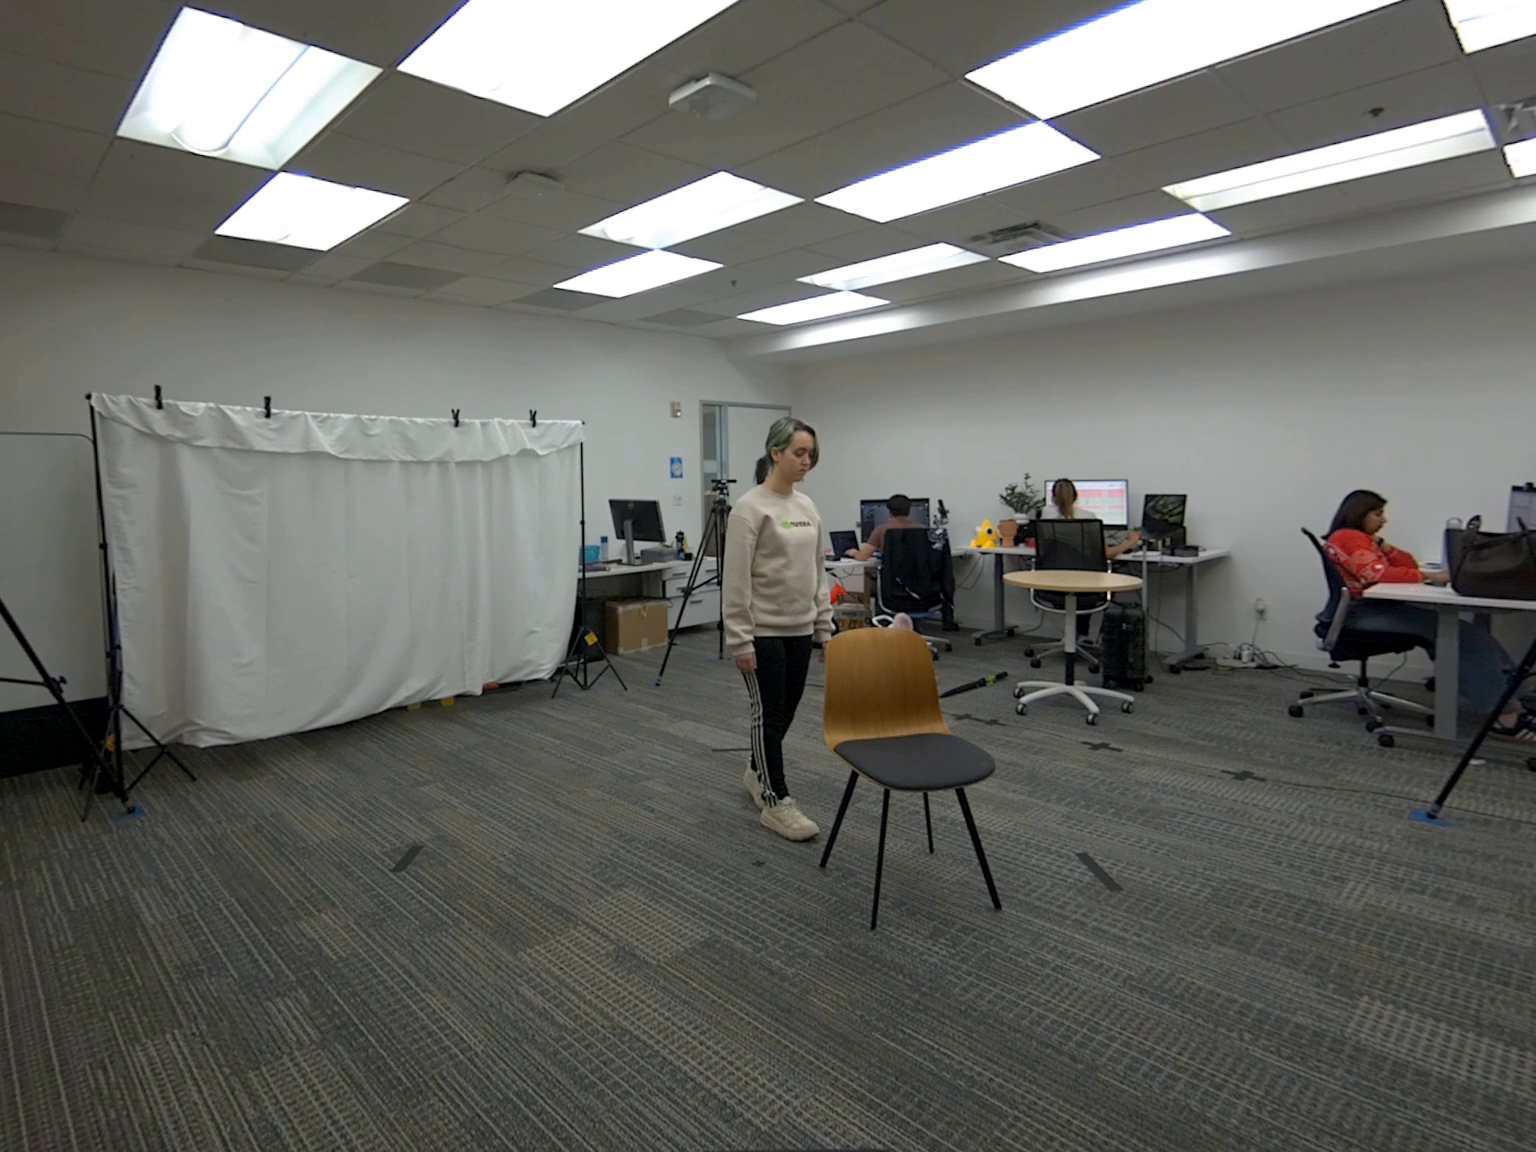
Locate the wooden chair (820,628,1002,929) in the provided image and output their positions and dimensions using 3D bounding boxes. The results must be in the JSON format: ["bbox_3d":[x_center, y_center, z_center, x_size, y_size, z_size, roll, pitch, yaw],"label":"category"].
[{"bbox_3d":[0.461,0.639,2.870,0.471,0.877,0.531,-2,0,-16],"label":"wooden chair"}]
